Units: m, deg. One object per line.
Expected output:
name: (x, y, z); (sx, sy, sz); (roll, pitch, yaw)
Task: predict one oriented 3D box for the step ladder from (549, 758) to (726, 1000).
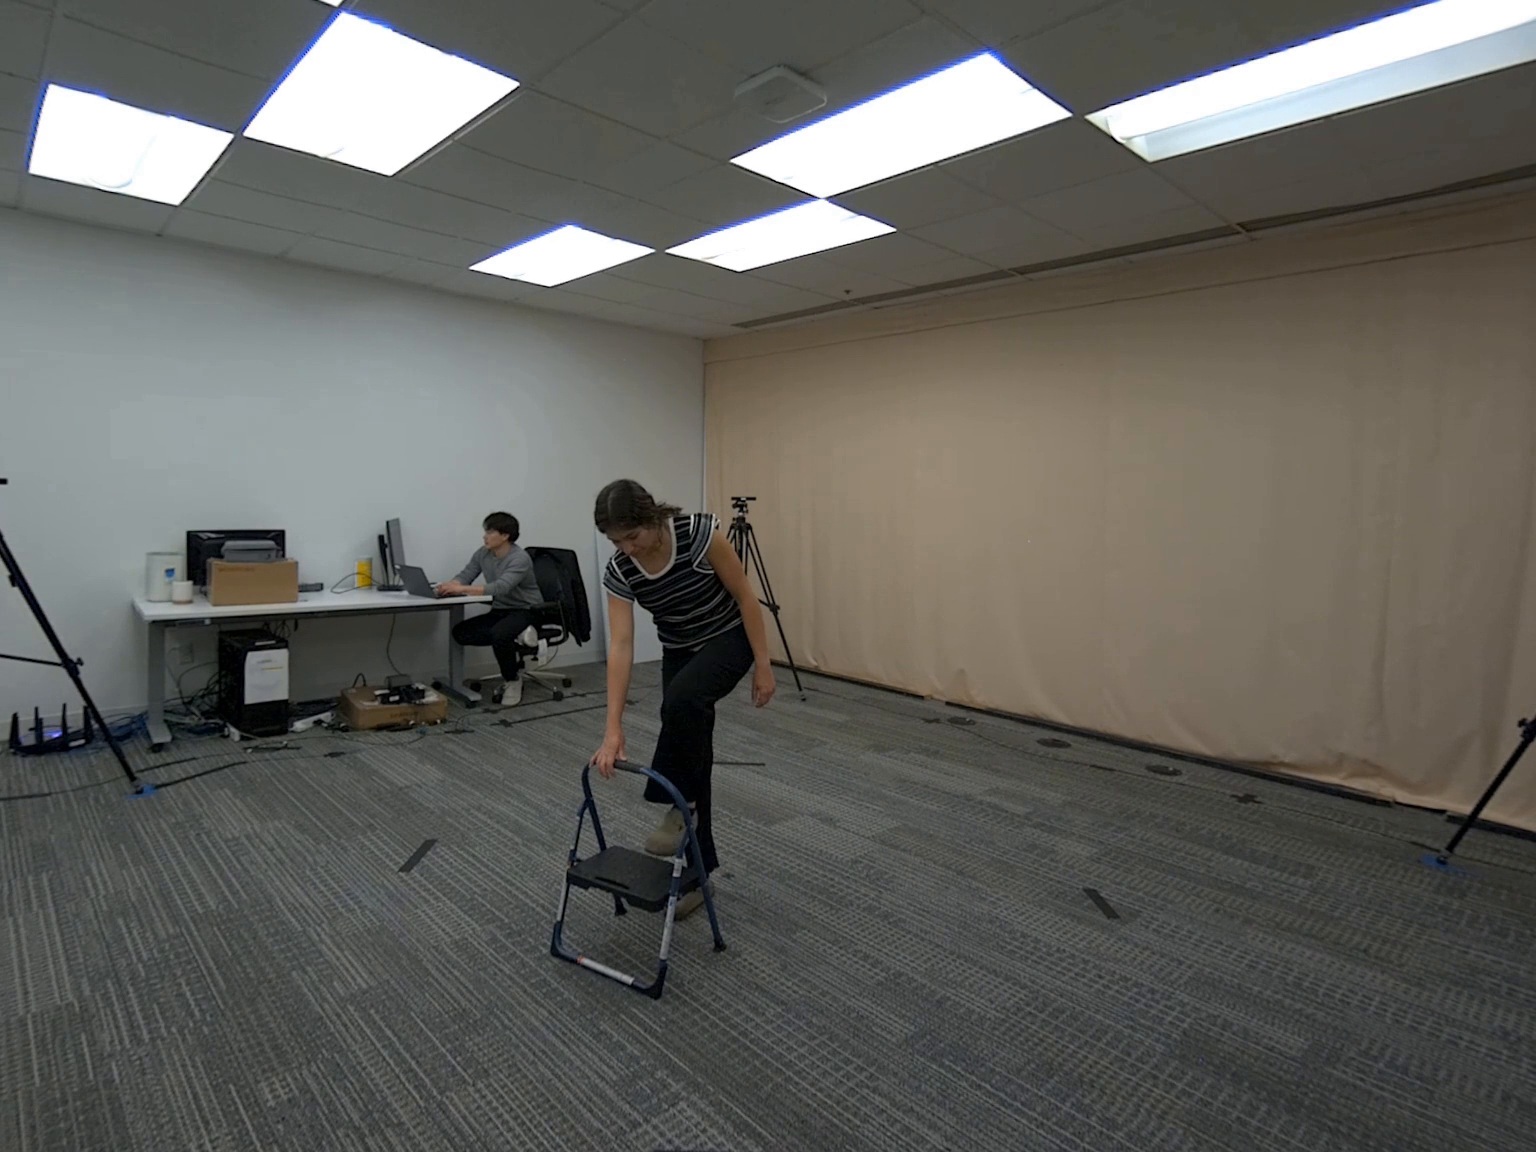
step ladder: (-0.399, 0.849, 2.560); (0.440, 0.605, 0.342); (3, 4, 31)
